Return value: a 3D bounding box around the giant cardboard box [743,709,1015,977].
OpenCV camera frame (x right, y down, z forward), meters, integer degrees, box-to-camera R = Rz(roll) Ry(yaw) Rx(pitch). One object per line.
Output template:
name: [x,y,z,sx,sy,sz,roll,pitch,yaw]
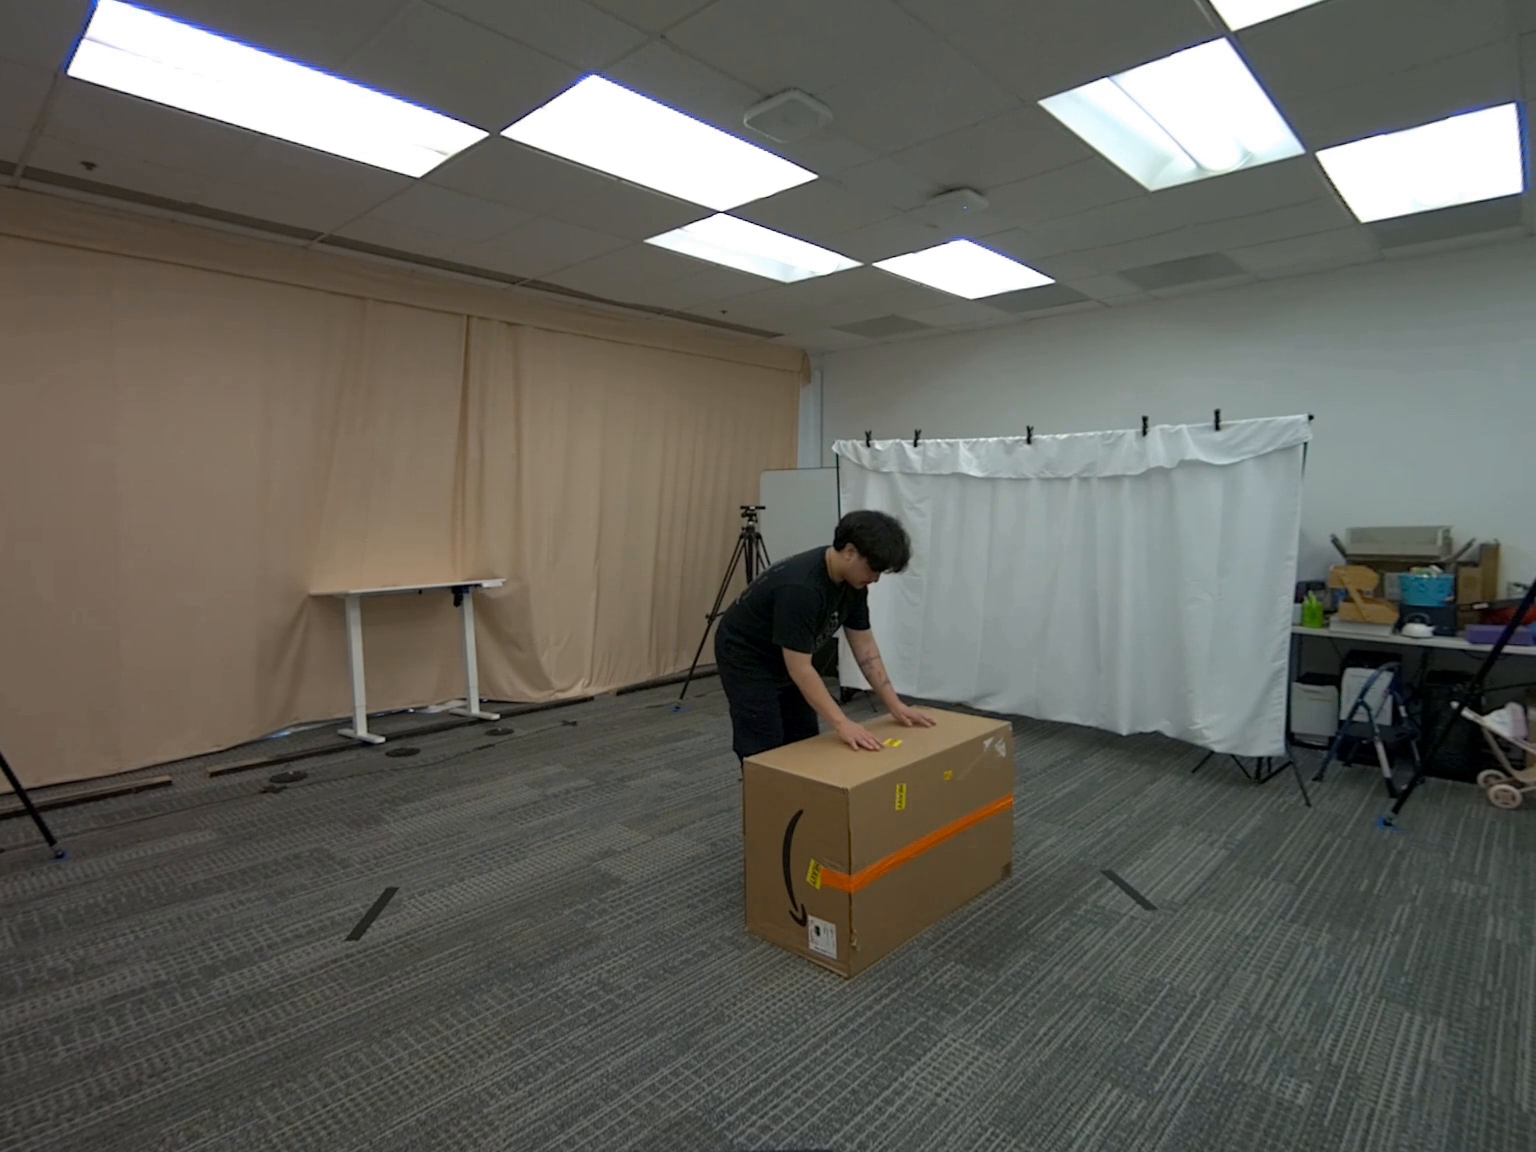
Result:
giant cardboard box: [0.429,0.861,2.953,0.462,0.582,0.996,4,7,43]
